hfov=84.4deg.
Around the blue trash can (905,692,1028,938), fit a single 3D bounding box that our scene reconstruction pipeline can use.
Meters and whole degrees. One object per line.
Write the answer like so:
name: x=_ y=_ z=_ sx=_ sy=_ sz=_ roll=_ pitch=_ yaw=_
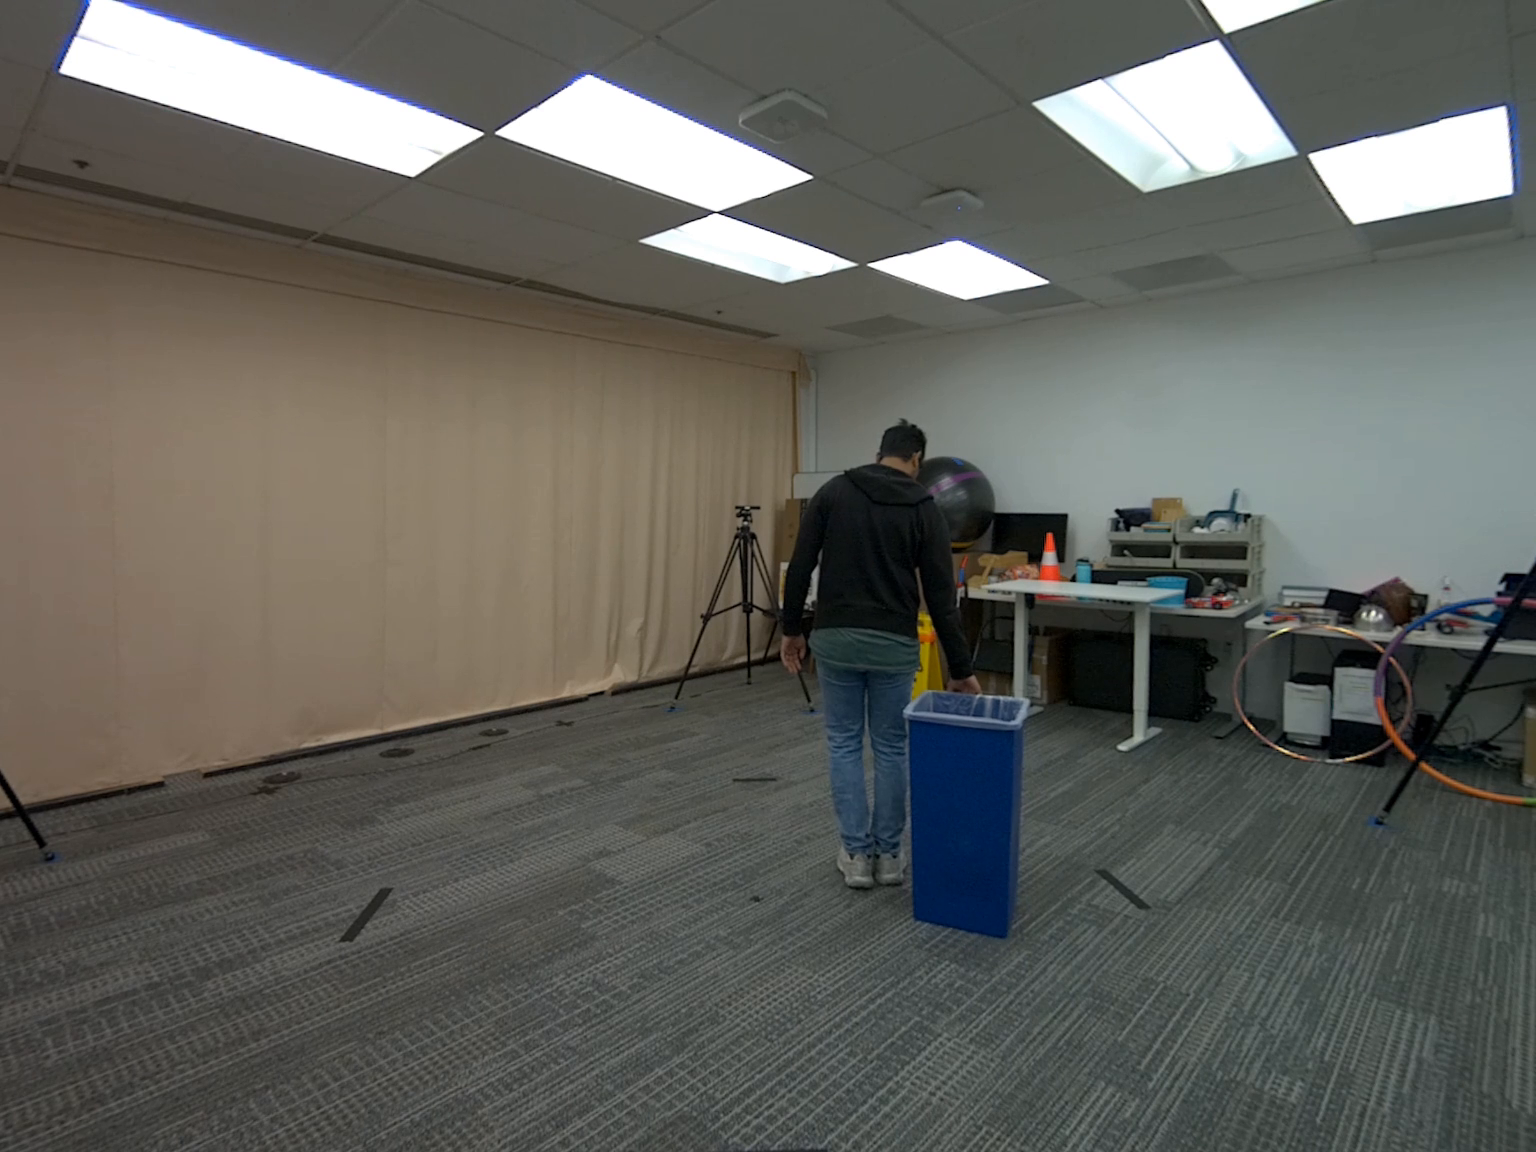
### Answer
blue trash can: x=0.680 y=0.791 z=2.871 sx=0.383 sy=0.712 sz=0.370 roll=2 pitch=4 yaw=23
